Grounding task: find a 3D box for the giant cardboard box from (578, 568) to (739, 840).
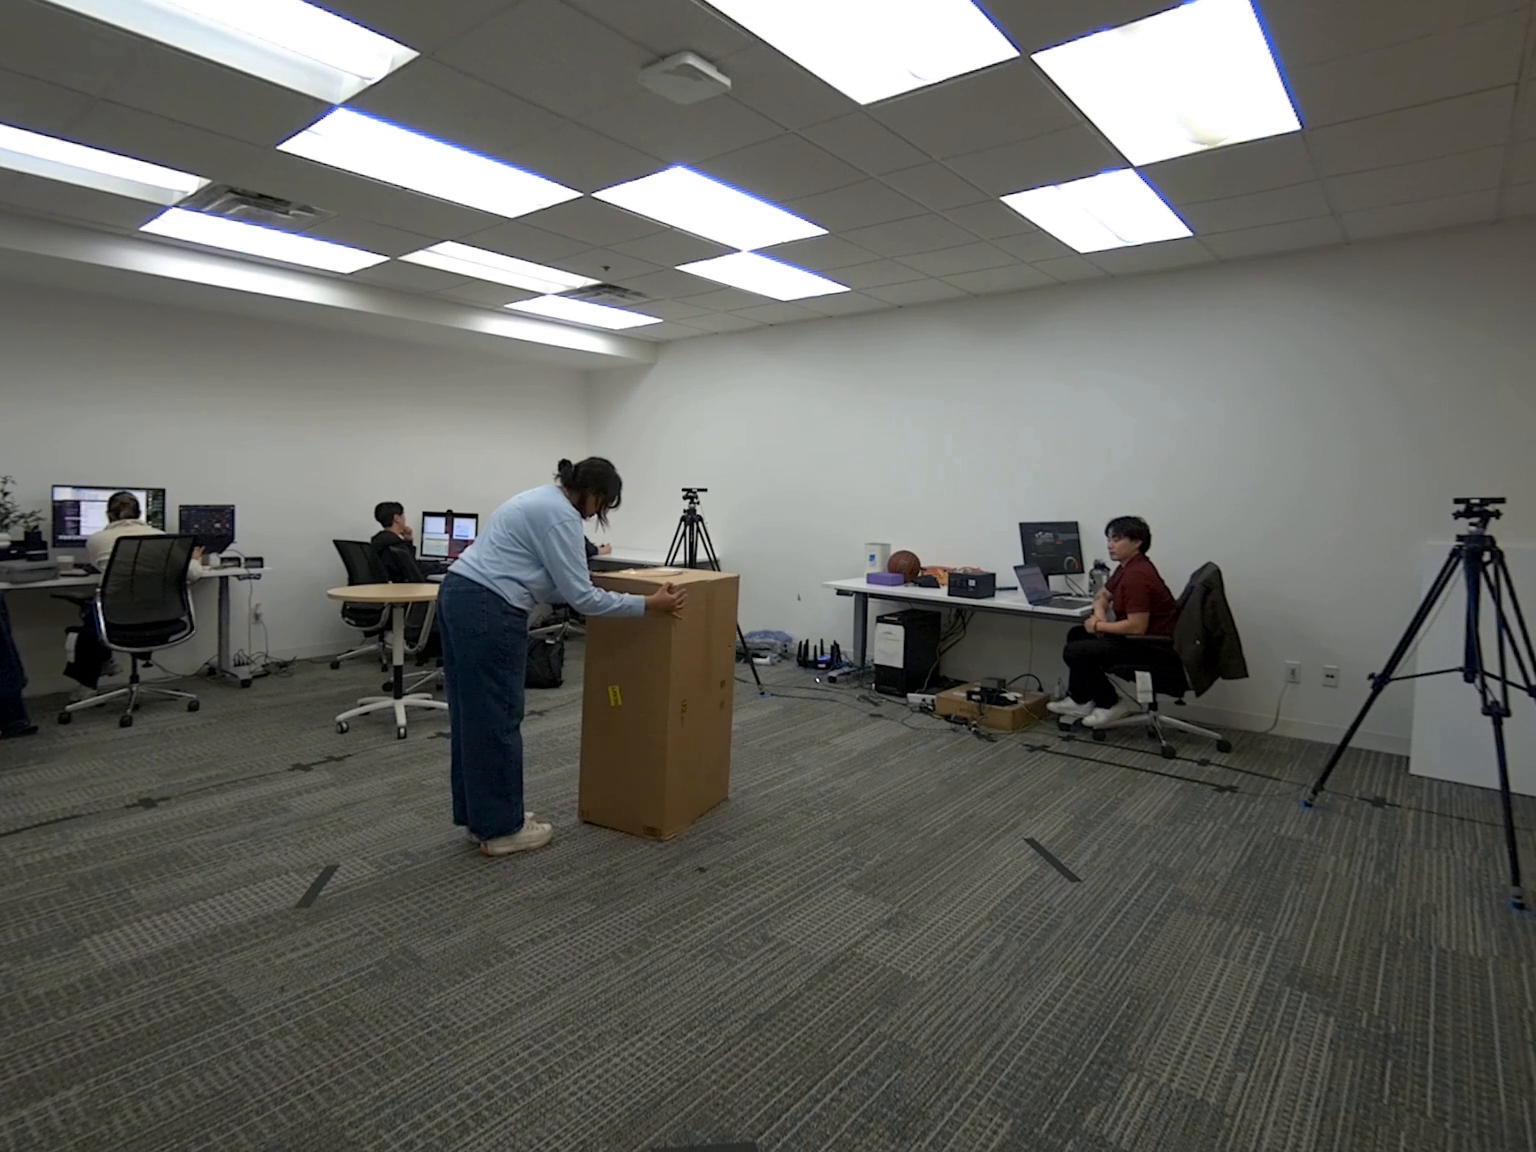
[{"bbox_3d":[-0.465,0.503,3.669,0.438,1.022,0.564,5,4,26],"label":"giant cardboard box"}]
